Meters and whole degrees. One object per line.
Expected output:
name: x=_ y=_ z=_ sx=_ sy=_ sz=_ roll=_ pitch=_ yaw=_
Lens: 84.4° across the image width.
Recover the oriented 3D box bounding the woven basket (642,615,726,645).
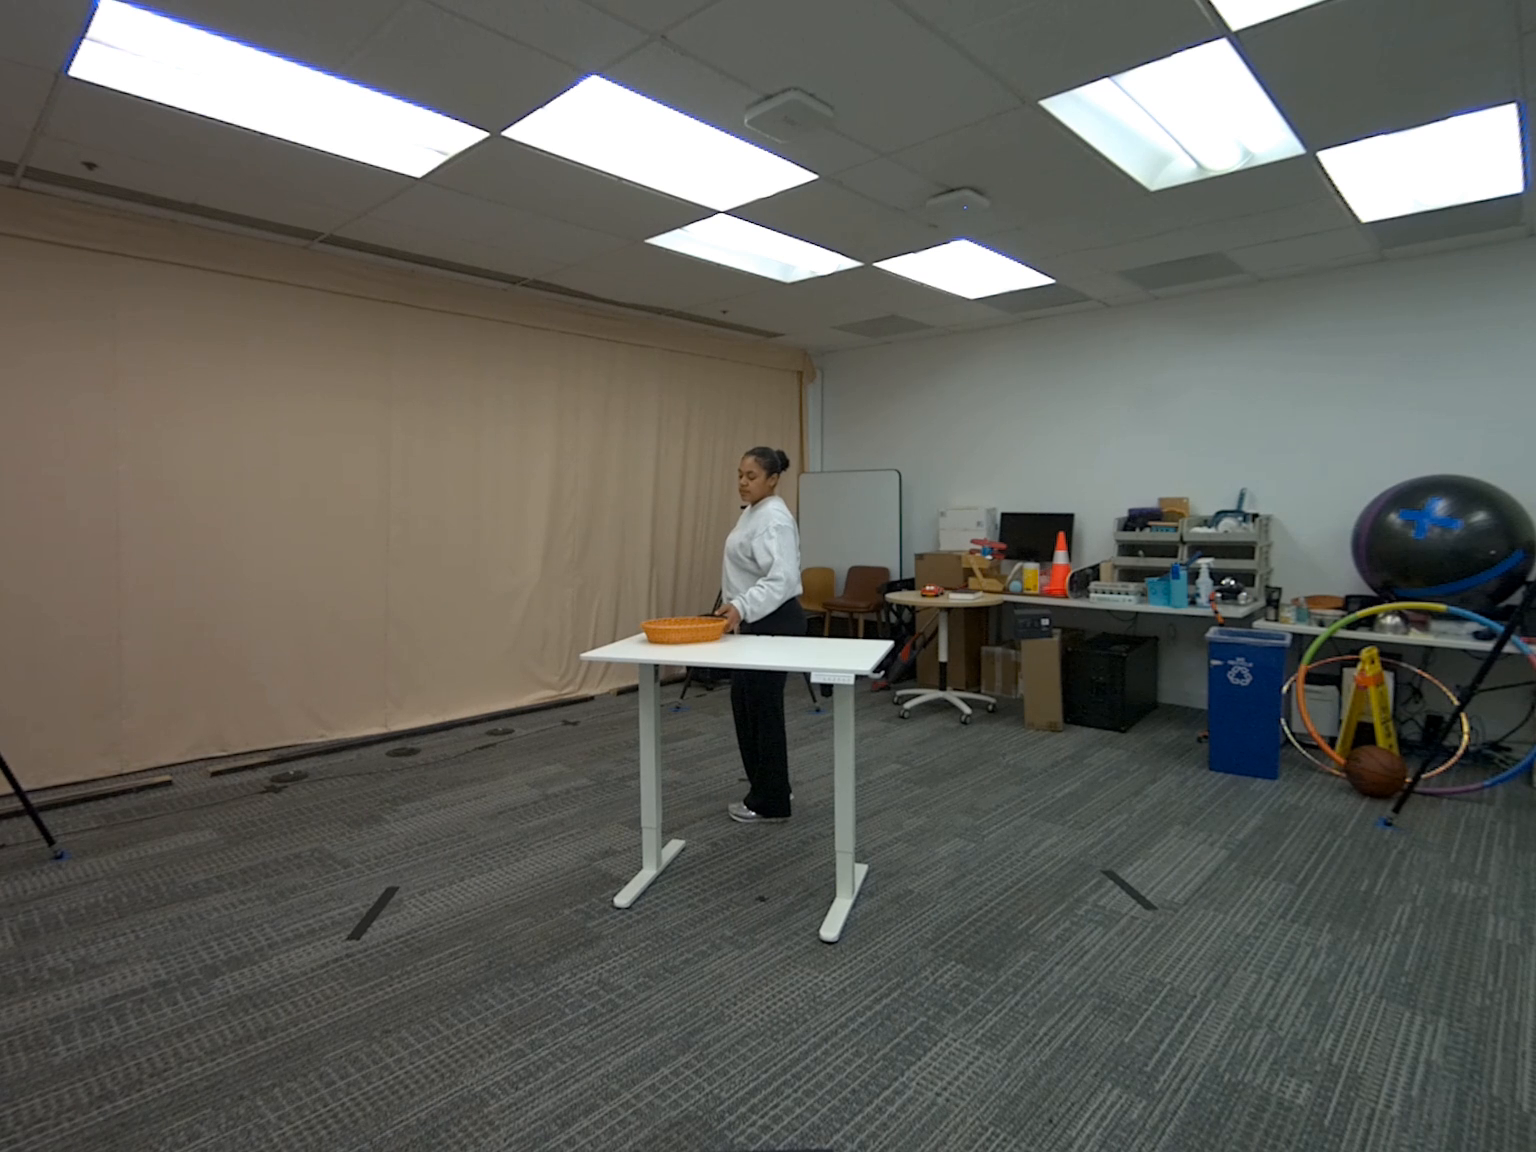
woven basket: x=-0.325 y=0.212 z=3.226 sx=0.343 sy=0.073 sz=0.258 roll=-2 pitch=5 yaw=-21
